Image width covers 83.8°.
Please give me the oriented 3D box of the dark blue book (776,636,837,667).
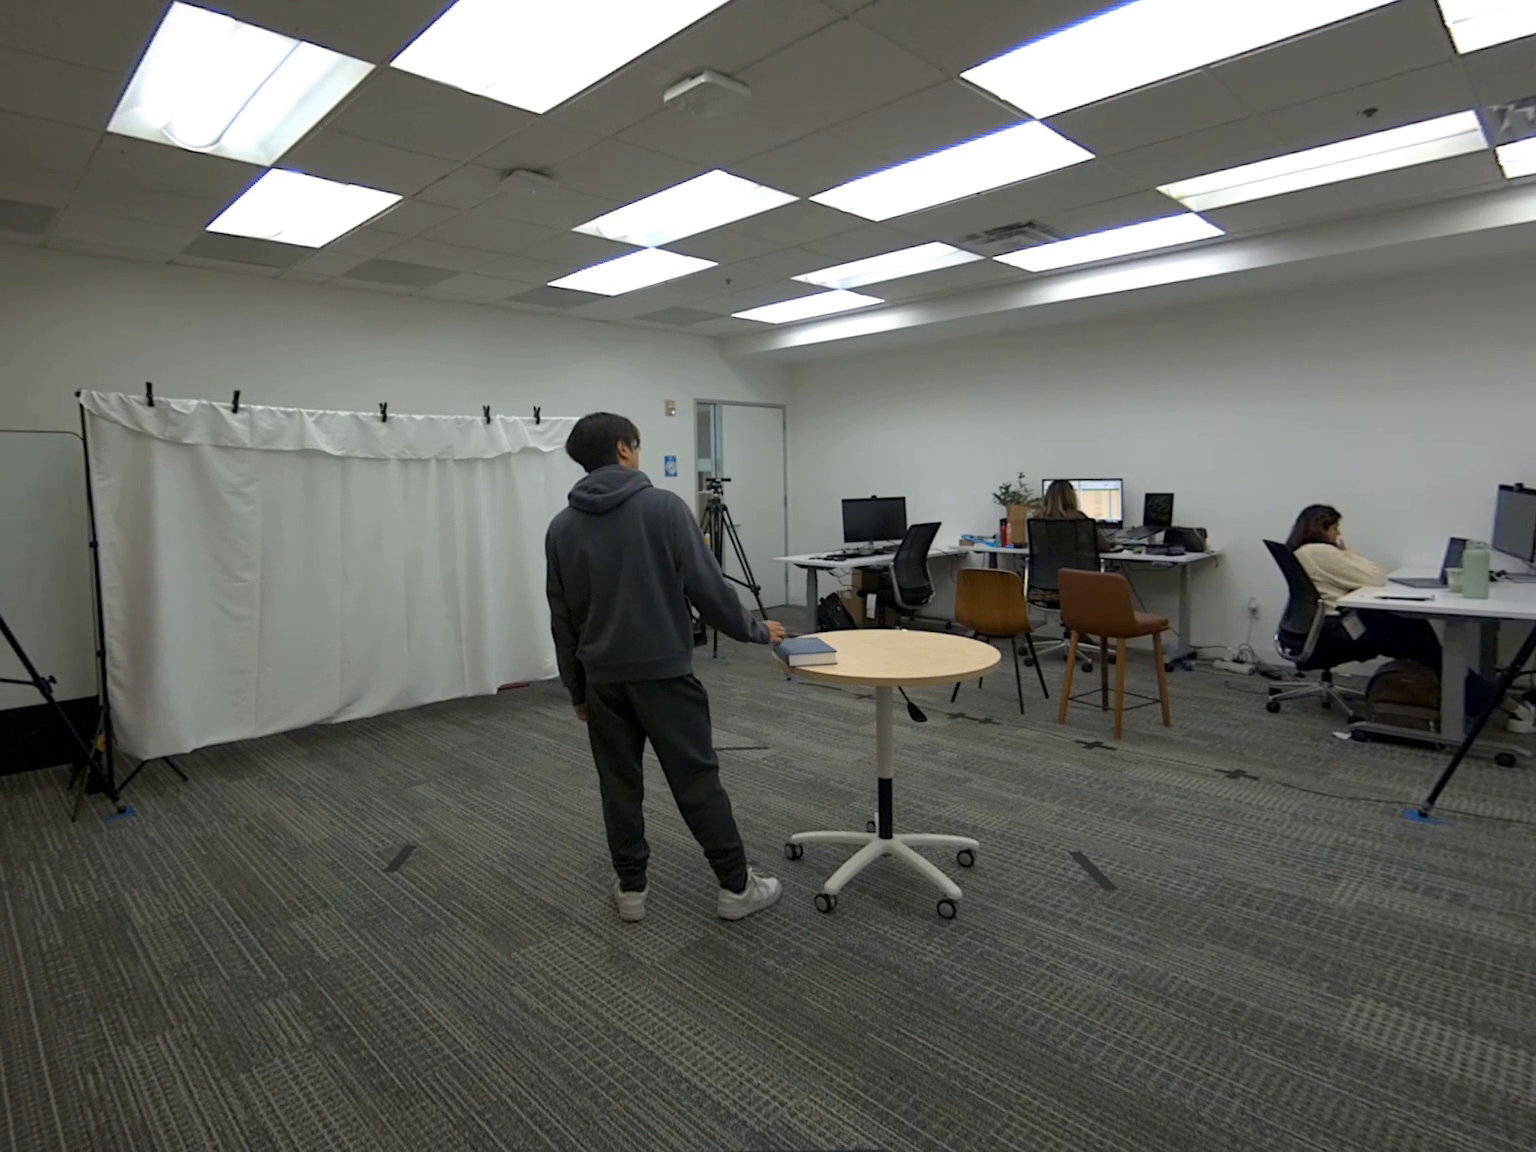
[{"bbox_3d":[0.128,0.253,2.853,0.162,0.045,0.249,-3,7,-11],"label":"dark blue book"}]
